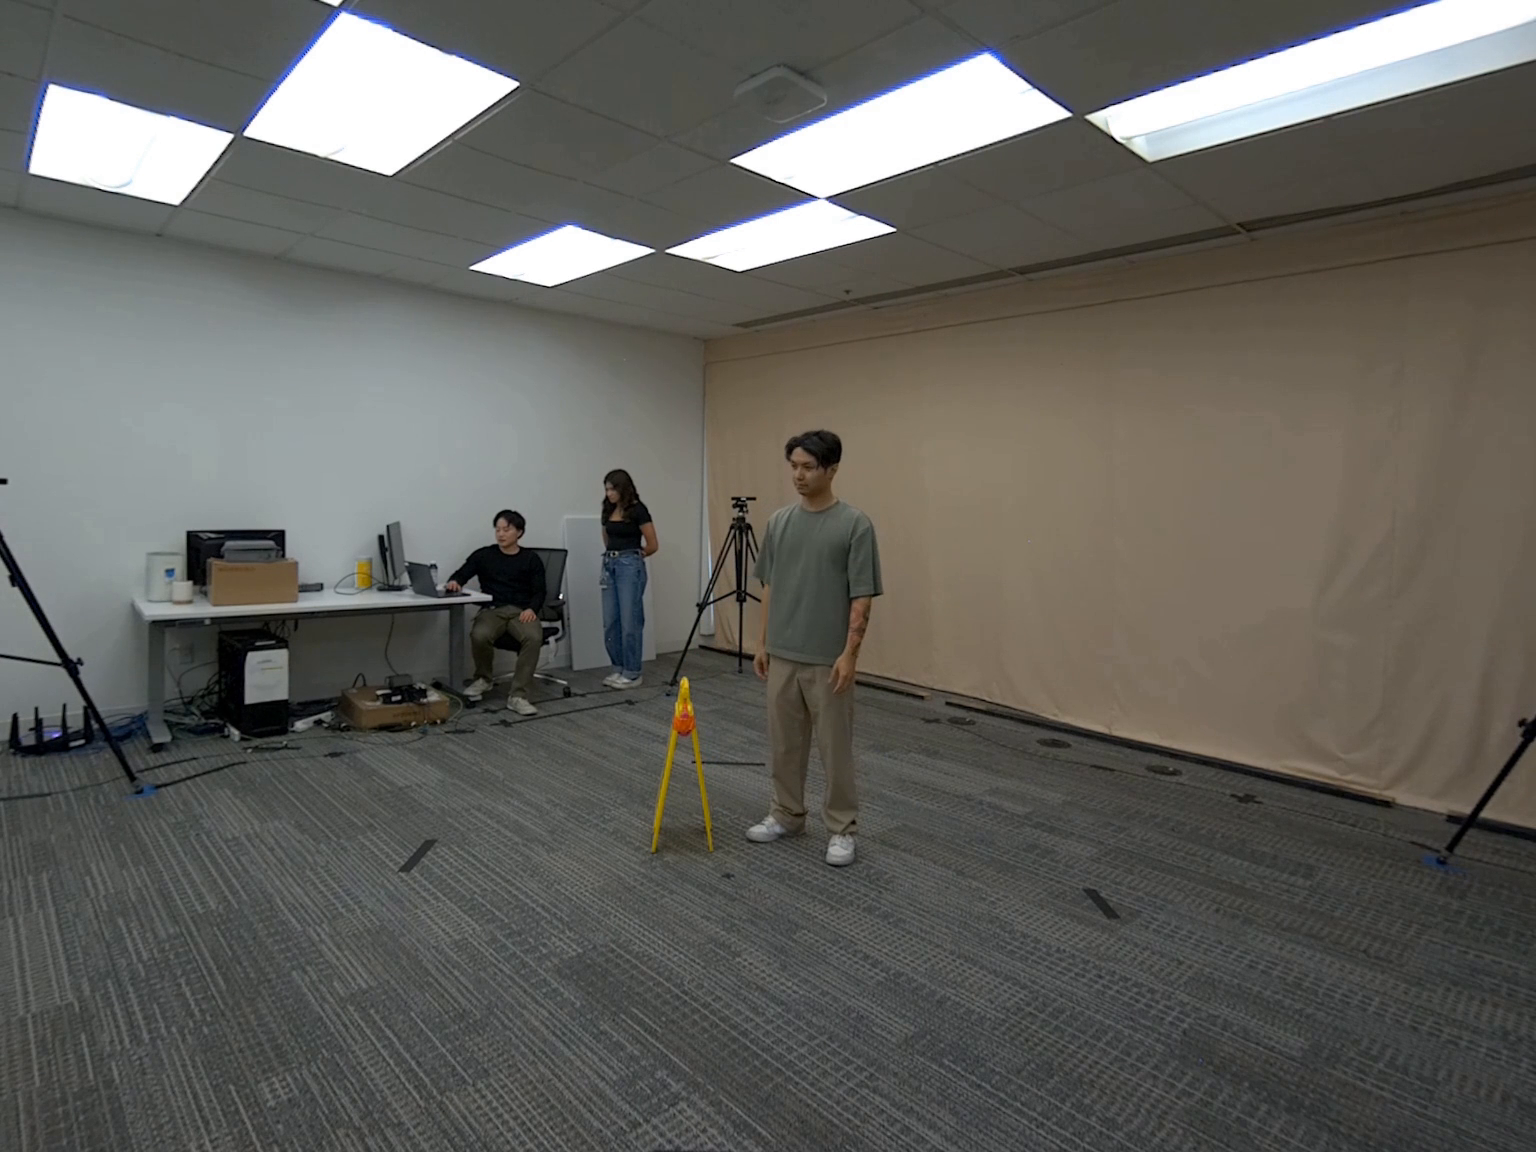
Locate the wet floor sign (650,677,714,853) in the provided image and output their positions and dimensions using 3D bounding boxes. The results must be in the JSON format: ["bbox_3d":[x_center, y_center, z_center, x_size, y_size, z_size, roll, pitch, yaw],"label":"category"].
[{"bbox_3d":[-0.351,0.749,3.420,0.288,0.645,0.284,-1,2,-5],"label":"wet floor sign"}]
